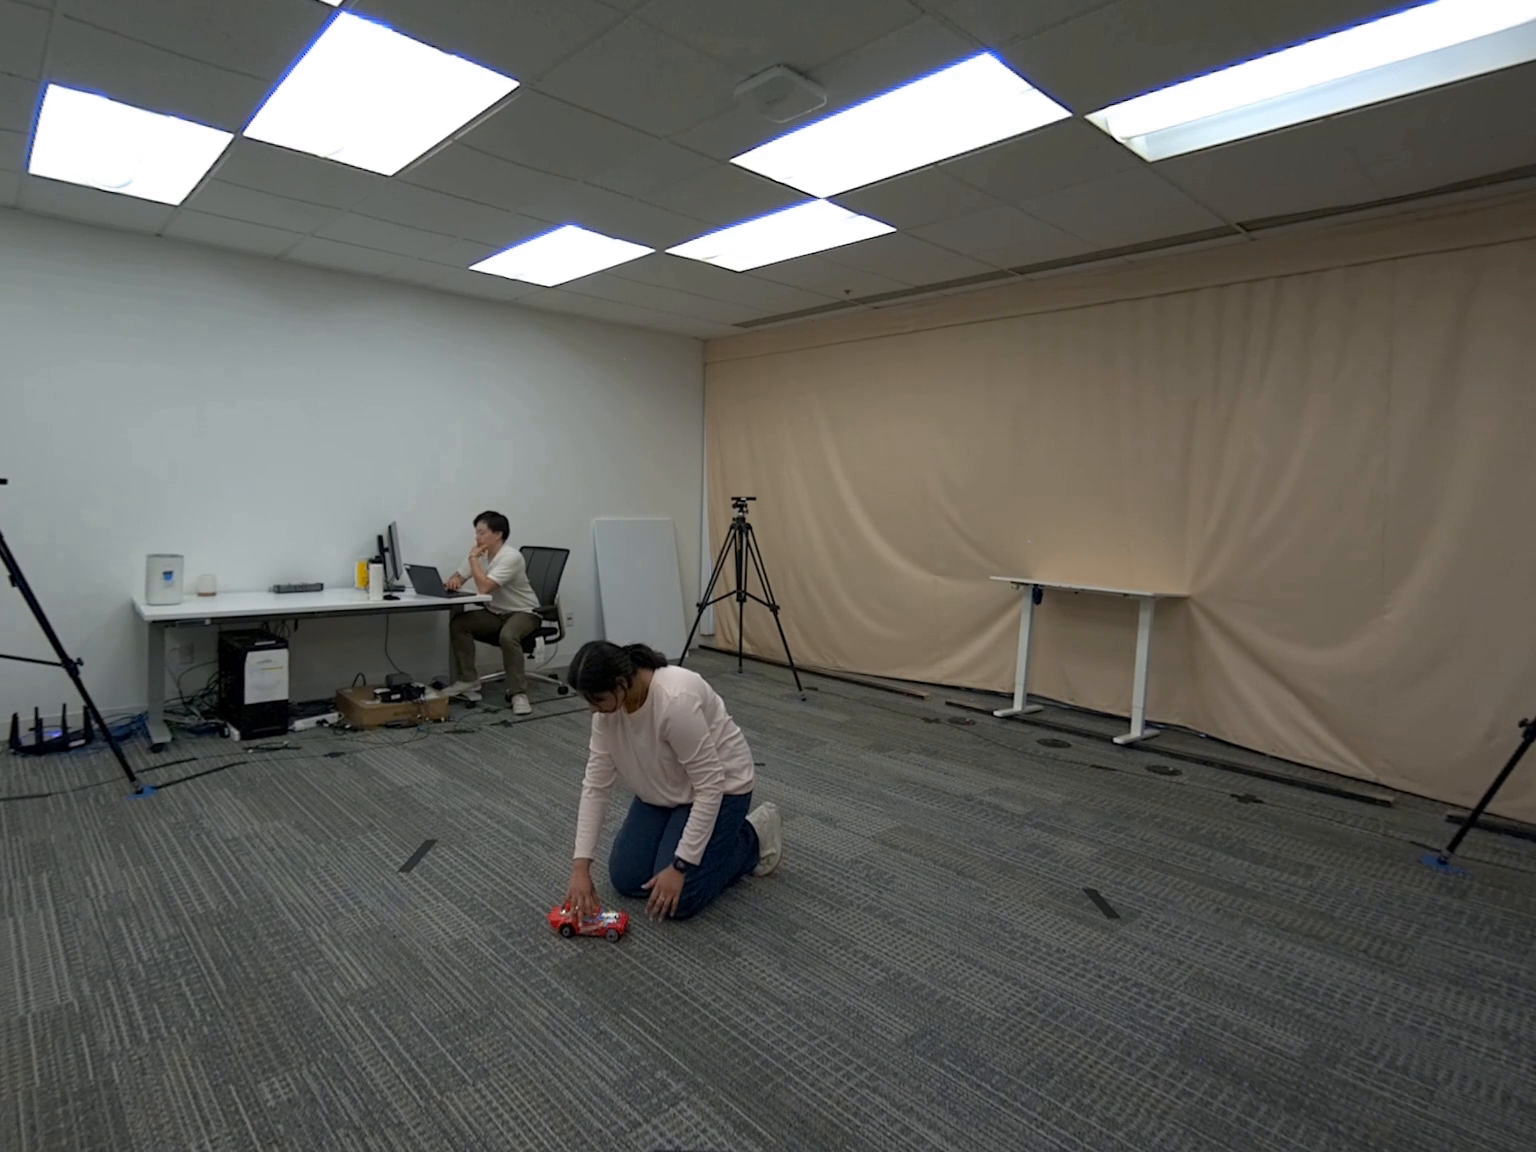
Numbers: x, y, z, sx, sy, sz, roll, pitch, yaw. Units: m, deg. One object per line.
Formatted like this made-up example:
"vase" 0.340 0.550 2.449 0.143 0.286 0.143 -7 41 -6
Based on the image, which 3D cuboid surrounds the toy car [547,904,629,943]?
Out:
"toy car" -0.586 1.104 2.685 0.256 0.083 0.130 12 5 5
